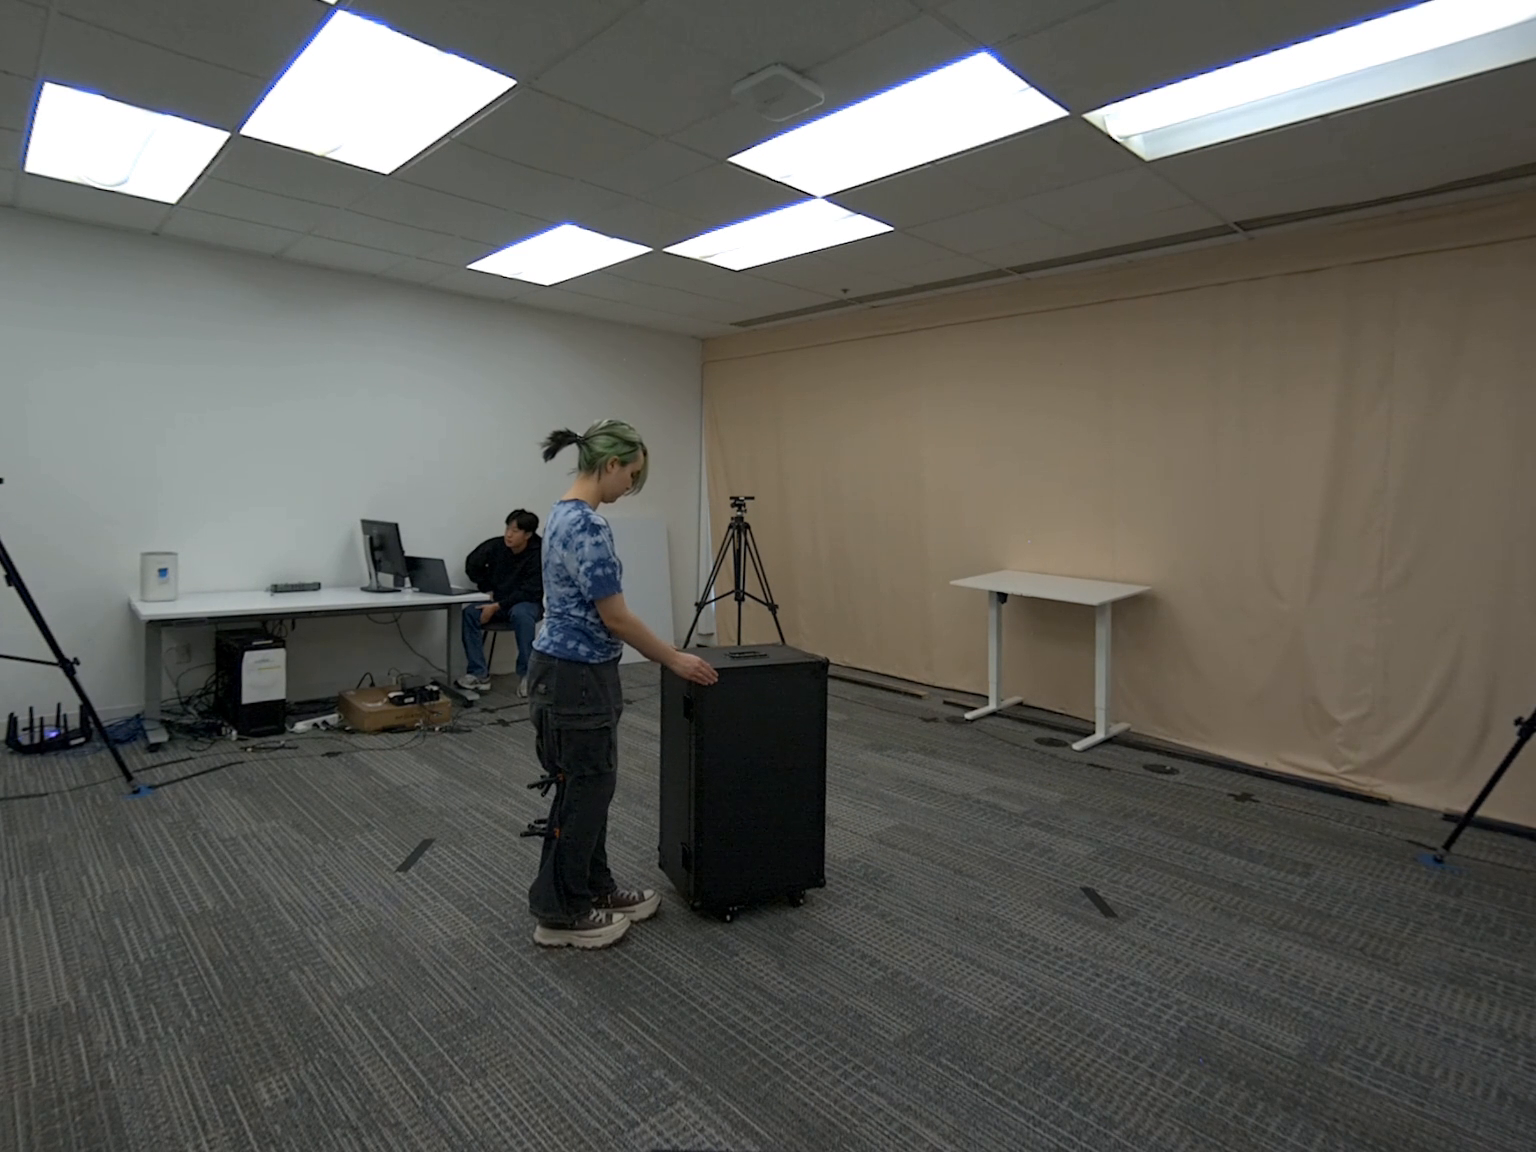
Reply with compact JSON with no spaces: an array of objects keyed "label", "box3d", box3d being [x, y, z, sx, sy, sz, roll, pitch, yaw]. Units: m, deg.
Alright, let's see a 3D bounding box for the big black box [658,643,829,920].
[{"label":"big black box","box3d":[-0.105,0.697,2.925,0.512,0.860,0.404,-1,3,-25]}]
